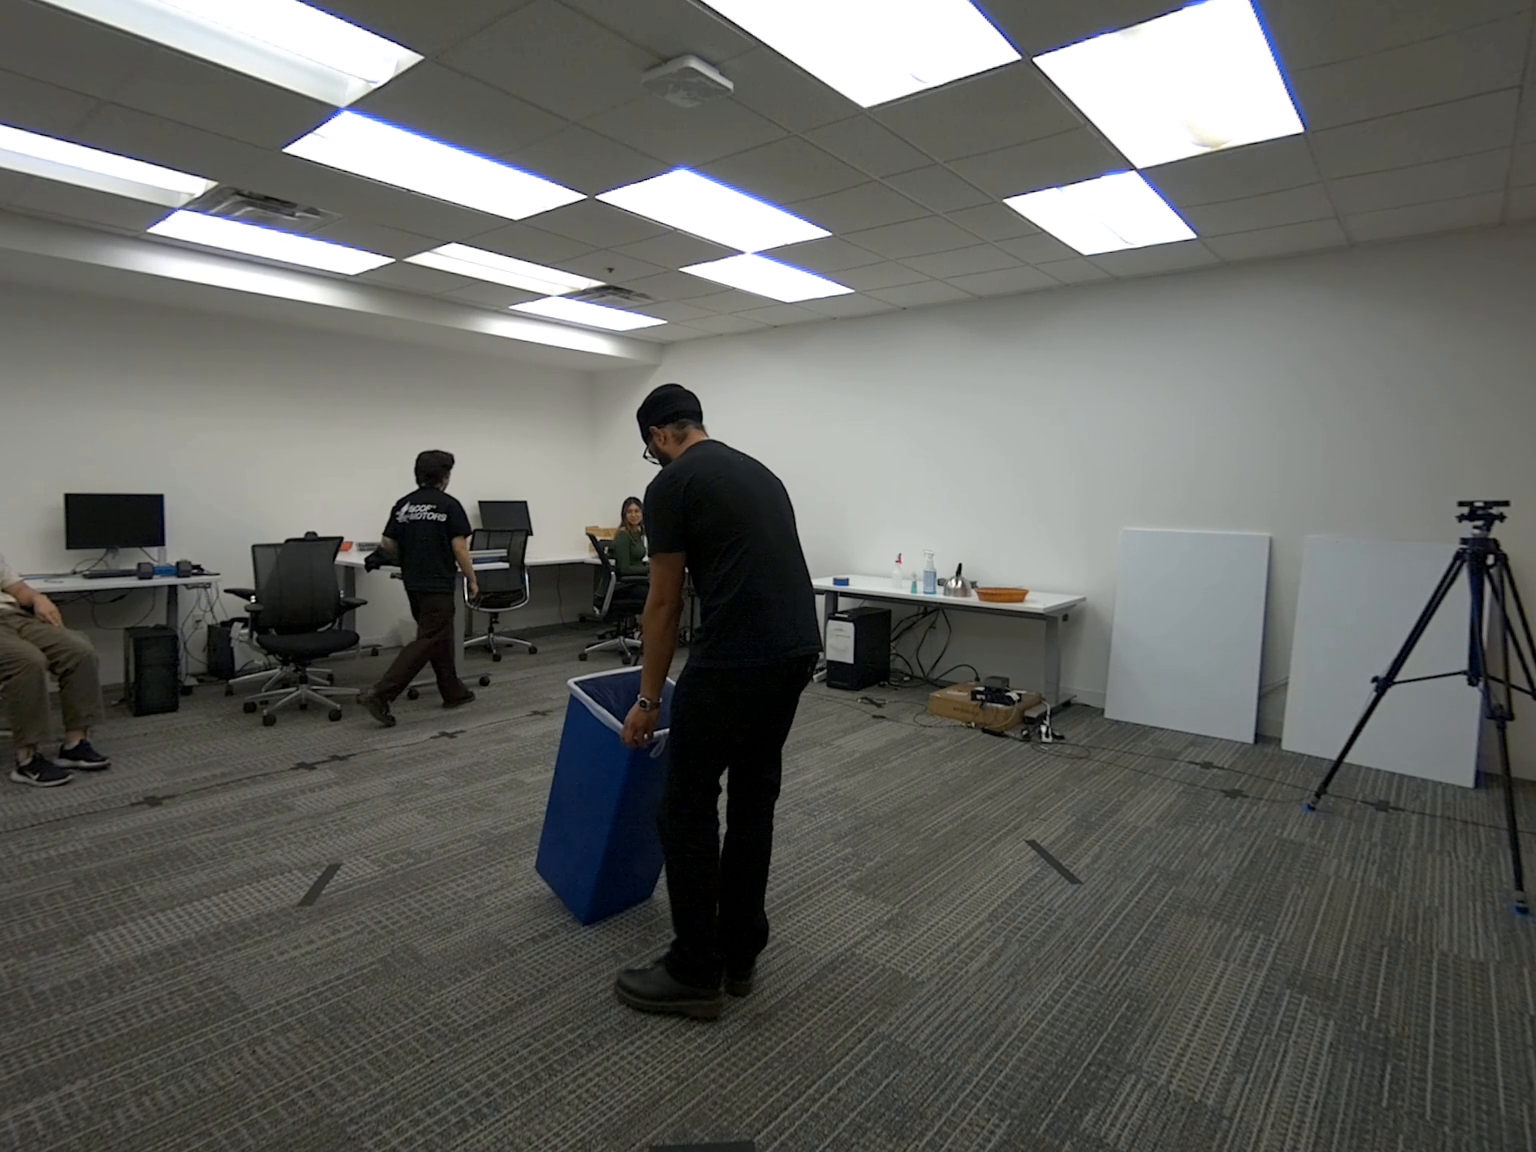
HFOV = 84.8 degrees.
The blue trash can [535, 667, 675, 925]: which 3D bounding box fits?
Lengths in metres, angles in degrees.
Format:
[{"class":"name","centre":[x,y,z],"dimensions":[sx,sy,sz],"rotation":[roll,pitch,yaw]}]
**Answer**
[{"class":"blue trash can","centre":[-0.492,0.713,2.789],"dimensions":[0.389,0.706,0.367],"rotation":[28,20,36]}]
